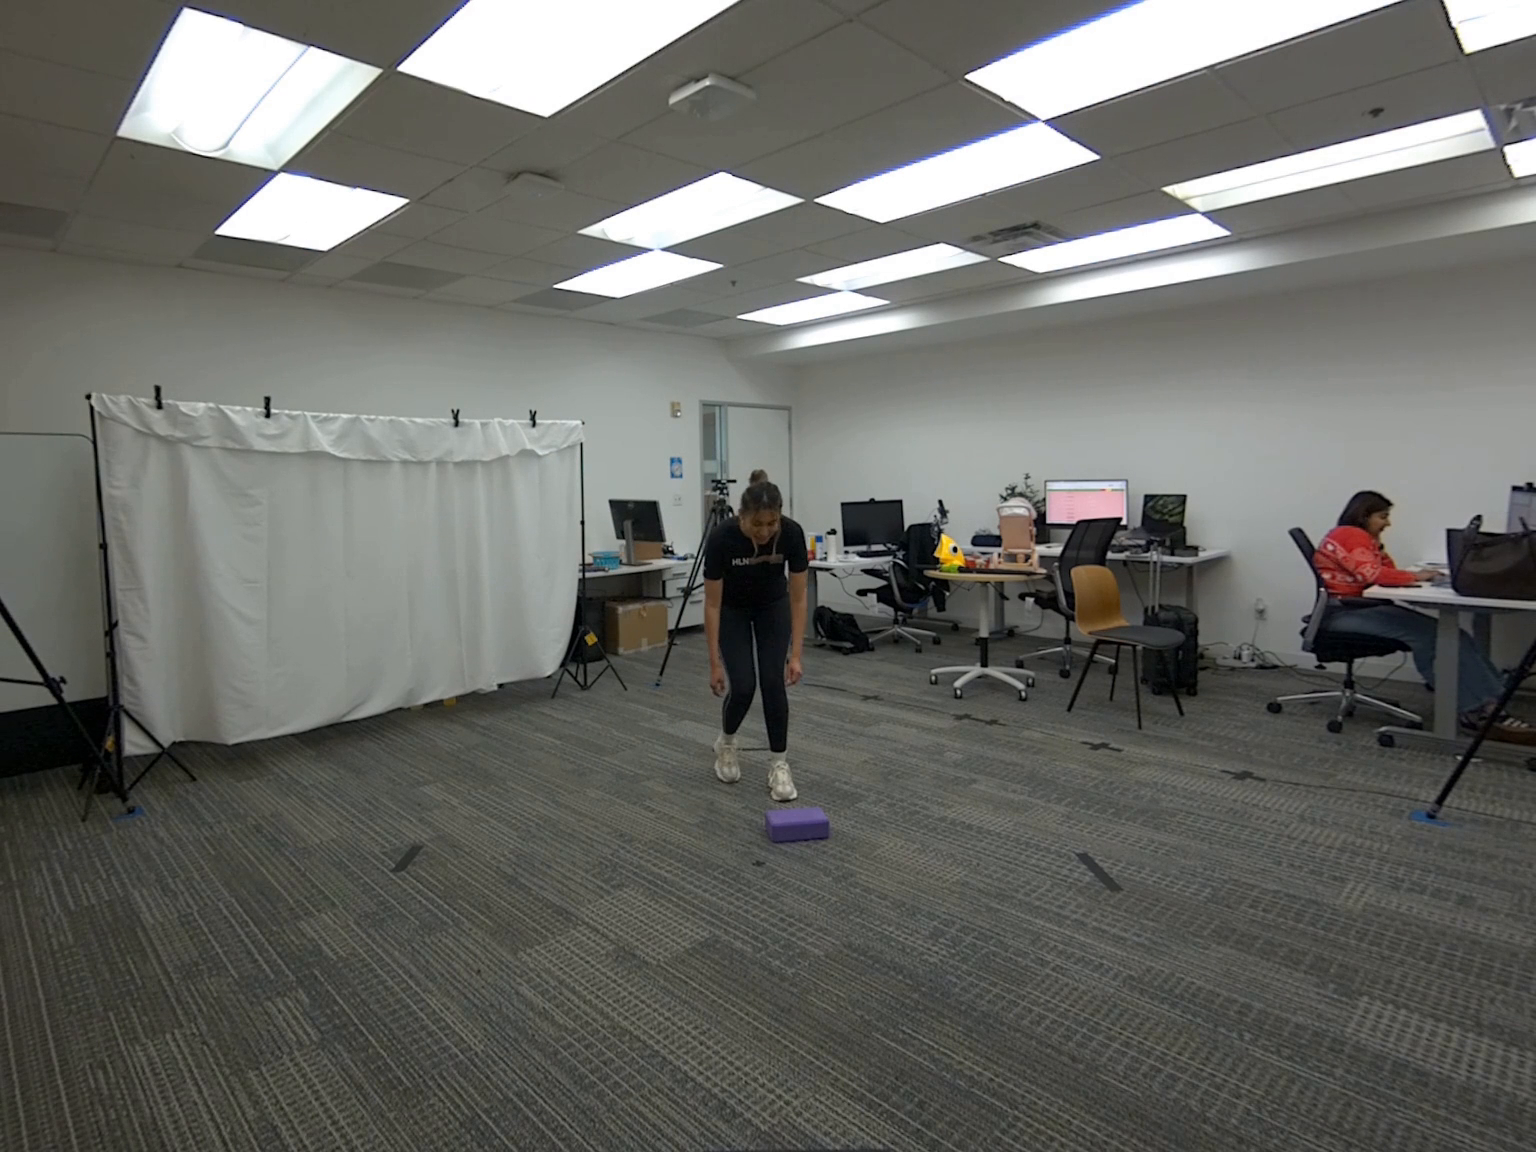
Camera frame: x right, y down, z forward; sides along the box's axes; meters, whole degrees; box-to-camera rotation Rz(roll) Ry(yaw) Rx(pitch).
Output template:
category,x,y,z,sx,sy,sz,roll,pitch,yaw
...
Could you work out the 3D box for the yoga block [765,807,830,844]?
category,x,y,z,sx,sy,sz,roll,pitch,yaw
yoga block,0.113,0.977,3.361,0.227,0.076,0.151,-2,6,-10
